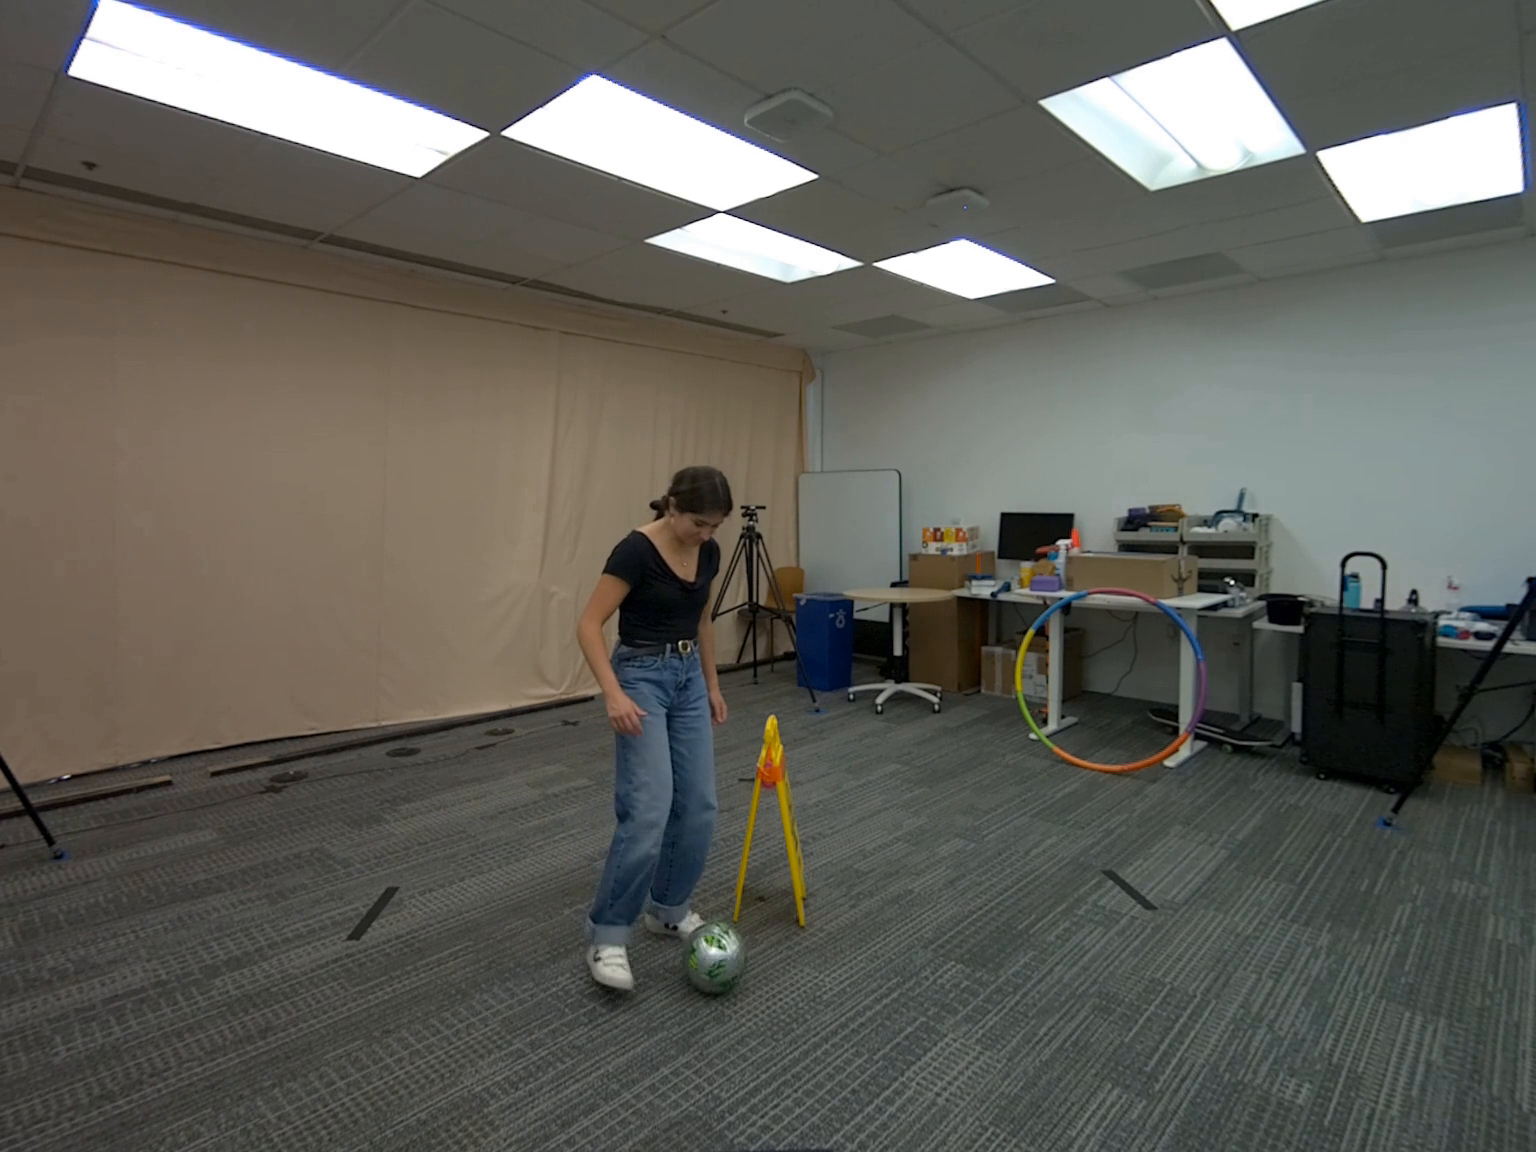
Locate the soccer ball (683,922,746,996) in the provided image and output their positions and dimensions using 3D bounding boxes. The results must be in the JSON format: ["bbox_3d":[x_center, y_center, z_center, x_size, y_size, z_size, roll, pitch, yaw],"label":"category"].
[{"bbox_3d":[-0.143,1.097,2.420,0.187,0.187,0.188,0,4,-2],"label":"soccer ball"}]
